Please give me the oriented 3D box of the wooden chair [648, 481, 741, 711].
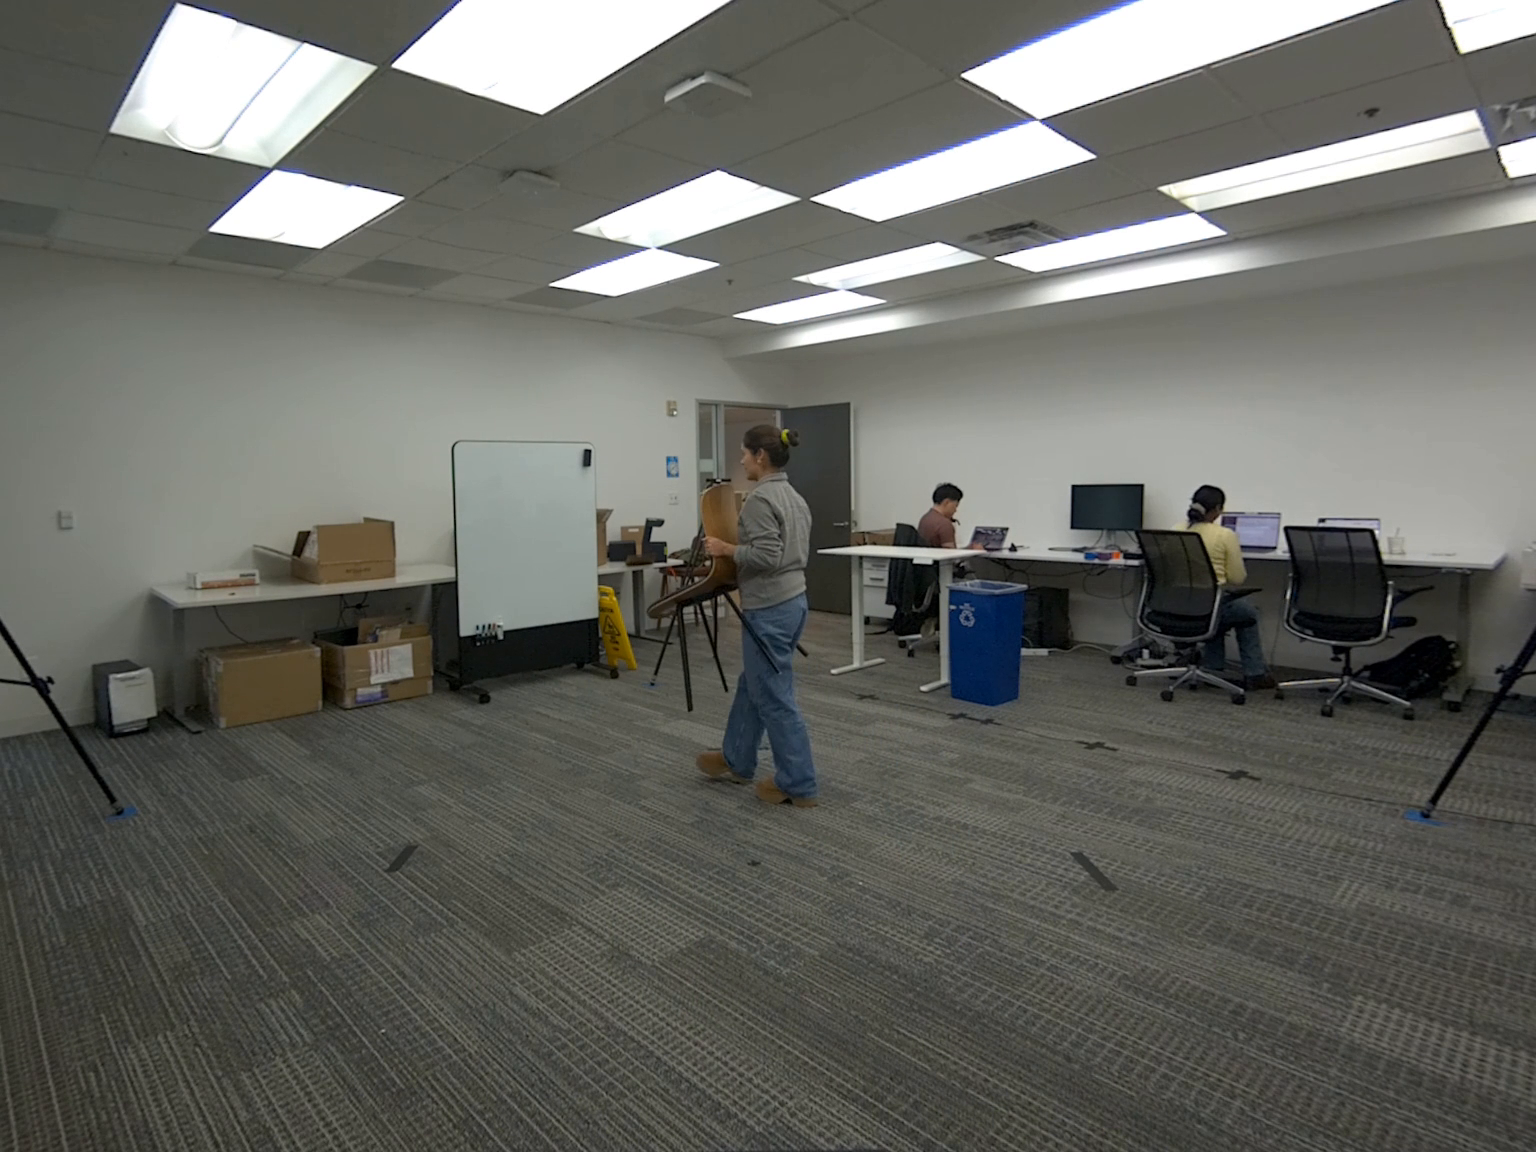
[{"bbox_3d":[-0.263,0.089,3.832,0.529,0.883,0.470,-22,-5,20],"label":"wooden chair"}]
